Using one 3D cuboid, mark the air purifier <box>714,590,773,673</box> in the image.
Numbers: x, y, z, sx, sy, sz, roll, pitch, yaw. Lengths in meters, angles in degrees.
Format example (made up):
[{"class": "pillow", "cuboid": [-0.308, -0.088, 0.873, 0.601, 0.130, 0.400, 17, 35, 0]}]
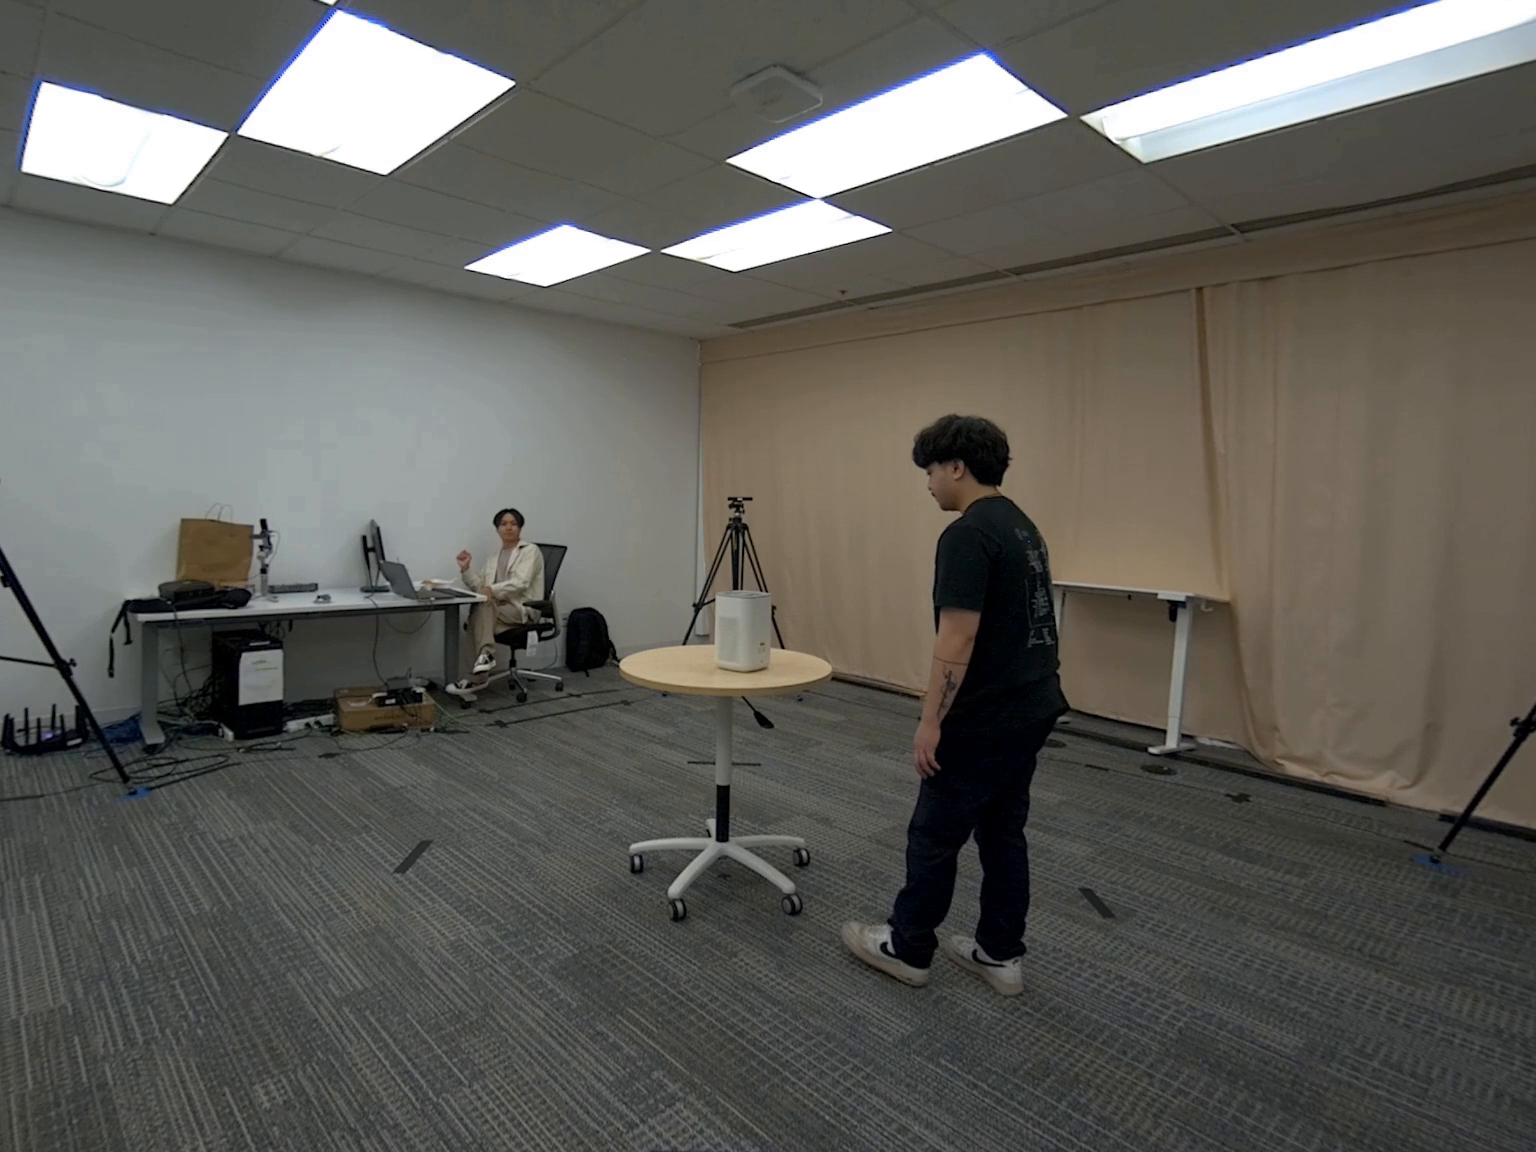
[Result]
[{"class": "air purifier", "cuboid": [-0.092, 0.192, 2.975, 0.176, 0.265, 0.167, 4, 4, 35]}]
